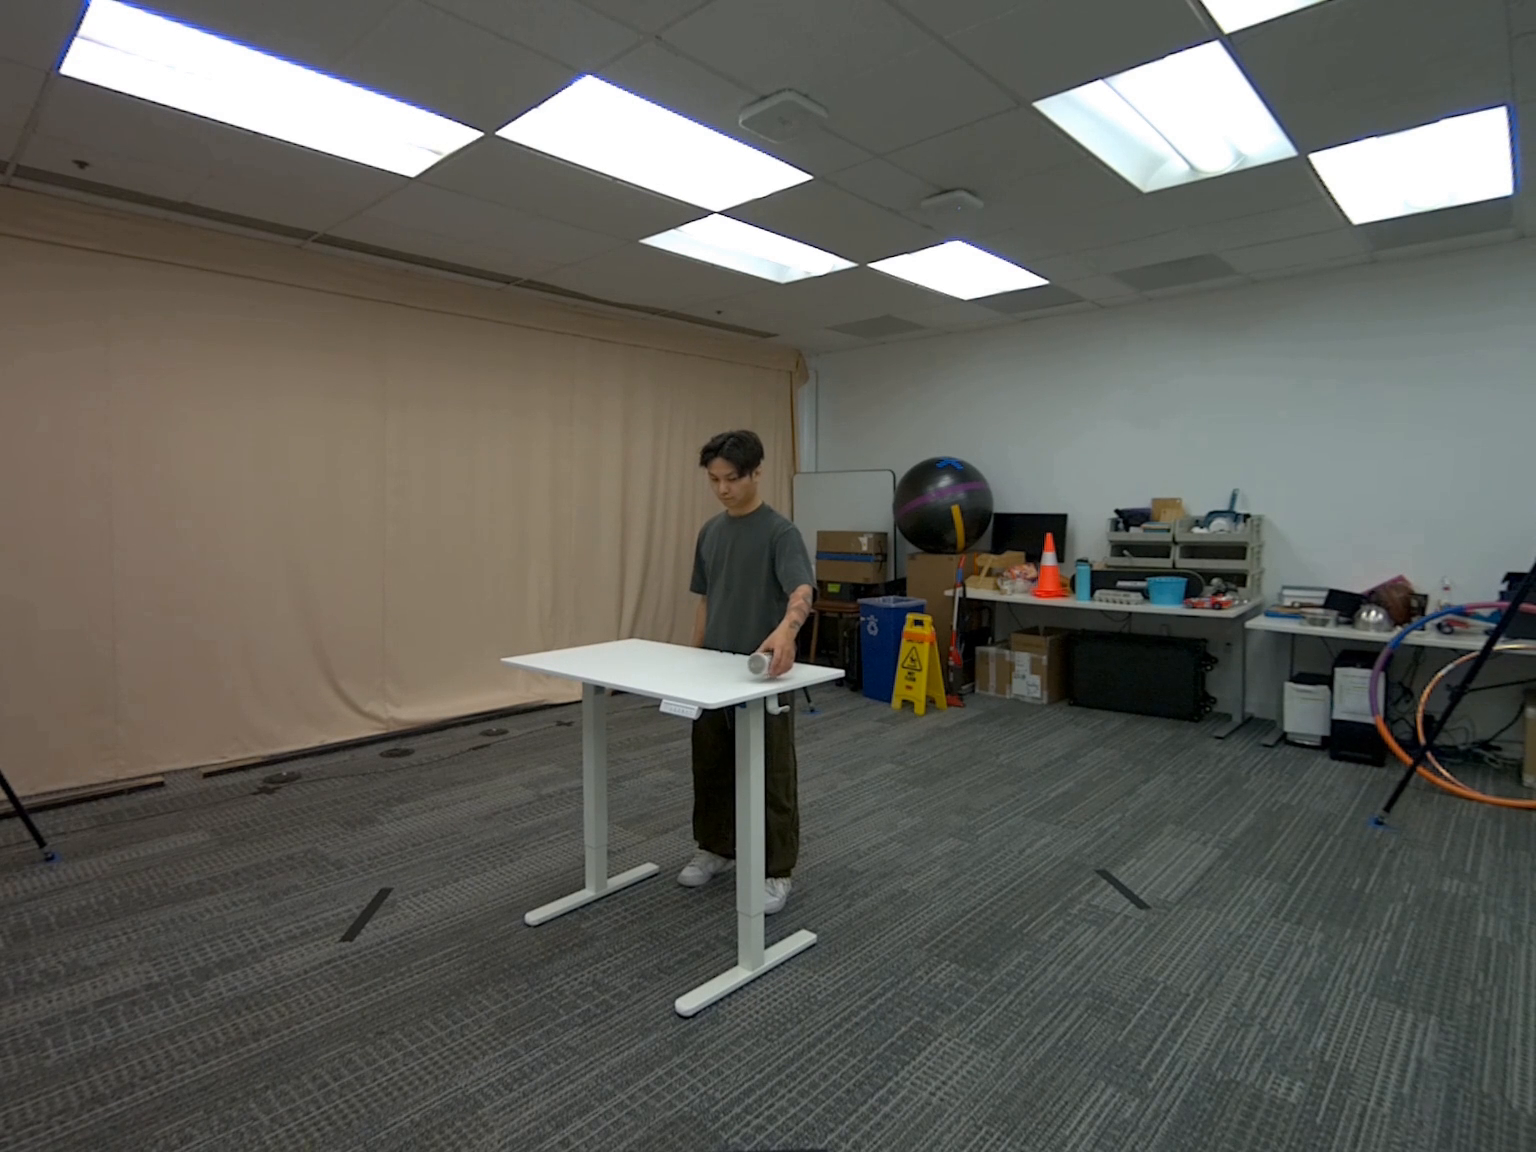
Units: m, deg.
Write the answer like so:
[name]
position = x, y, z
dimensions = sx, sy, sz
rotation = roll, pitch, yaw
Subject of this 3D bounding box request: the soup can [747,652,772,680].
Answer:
[soup can]
position = -0.011, 0.257, 2.464
dimensions = 0.069, 0.067, 0.118
rotation = 2, 2, 25
